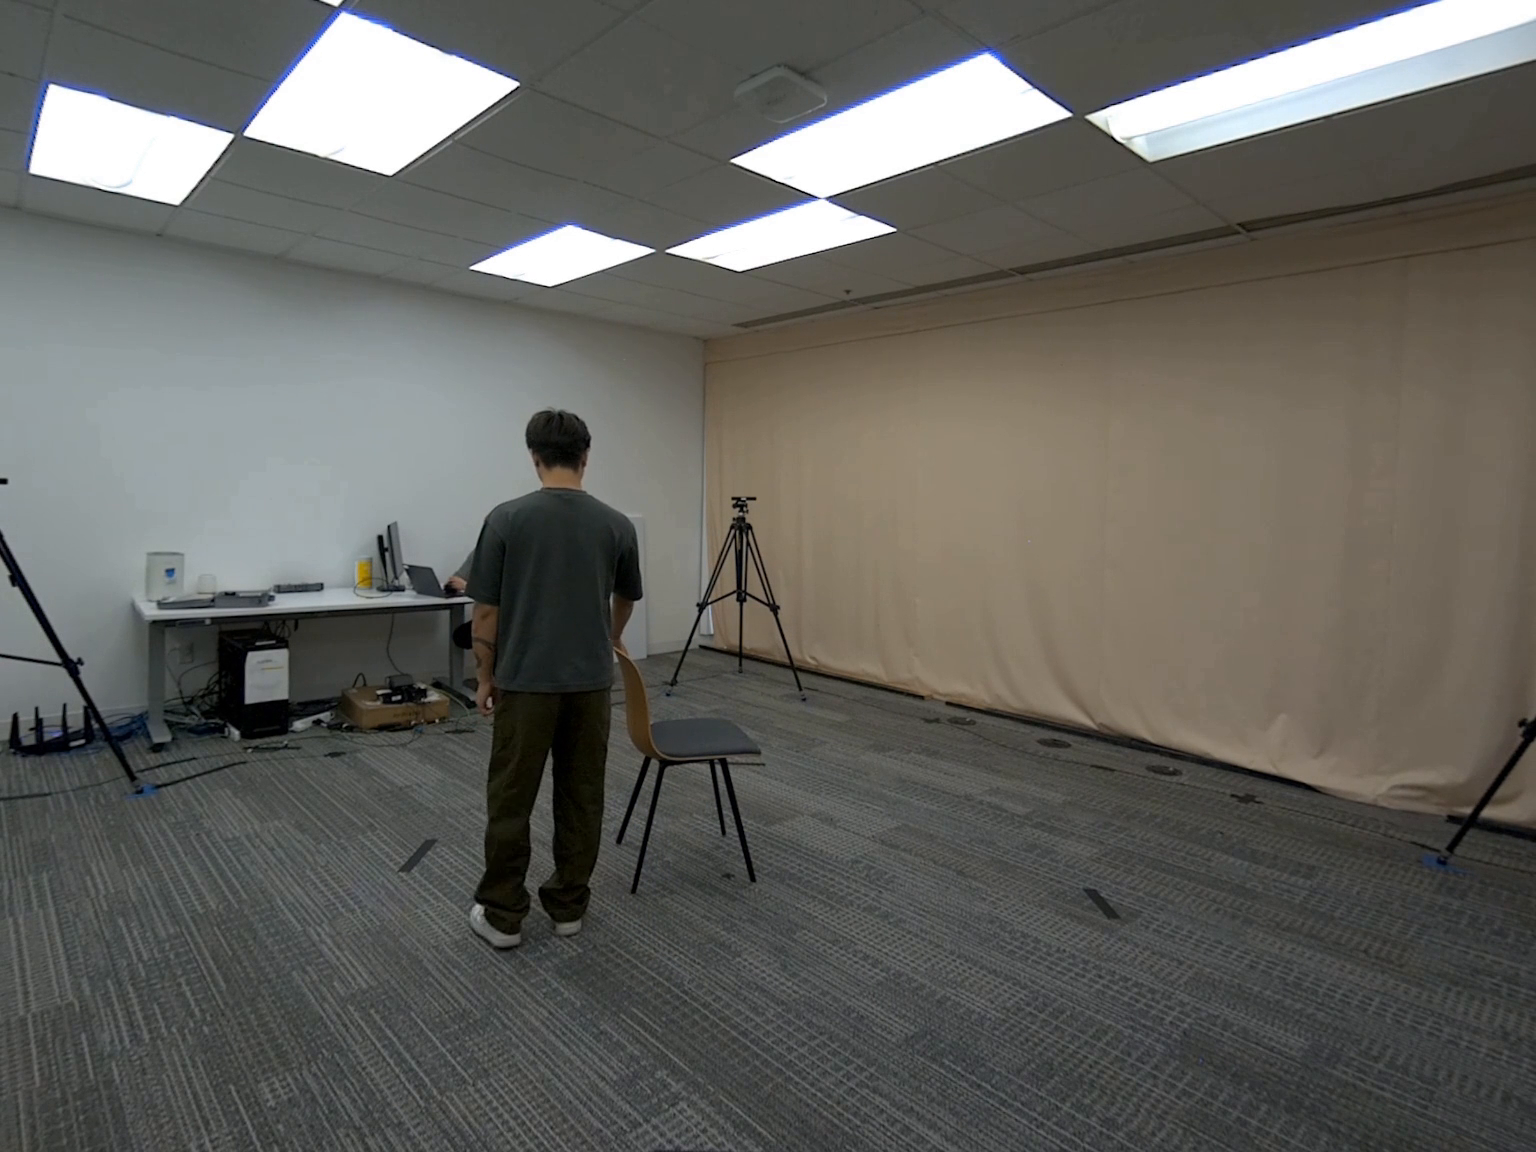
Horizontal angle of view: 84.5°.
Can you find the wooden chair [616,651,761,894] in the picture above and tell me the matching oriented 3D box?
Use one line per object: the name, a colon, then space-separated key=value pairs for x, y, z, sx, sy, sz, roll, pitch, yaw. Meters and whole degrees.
wooden chair: x=-0.313 y=0.668 z=3.187 sx=0.517 sy=0.875 sz=0.485 roll=-4 pitch=4 yaw=-16
